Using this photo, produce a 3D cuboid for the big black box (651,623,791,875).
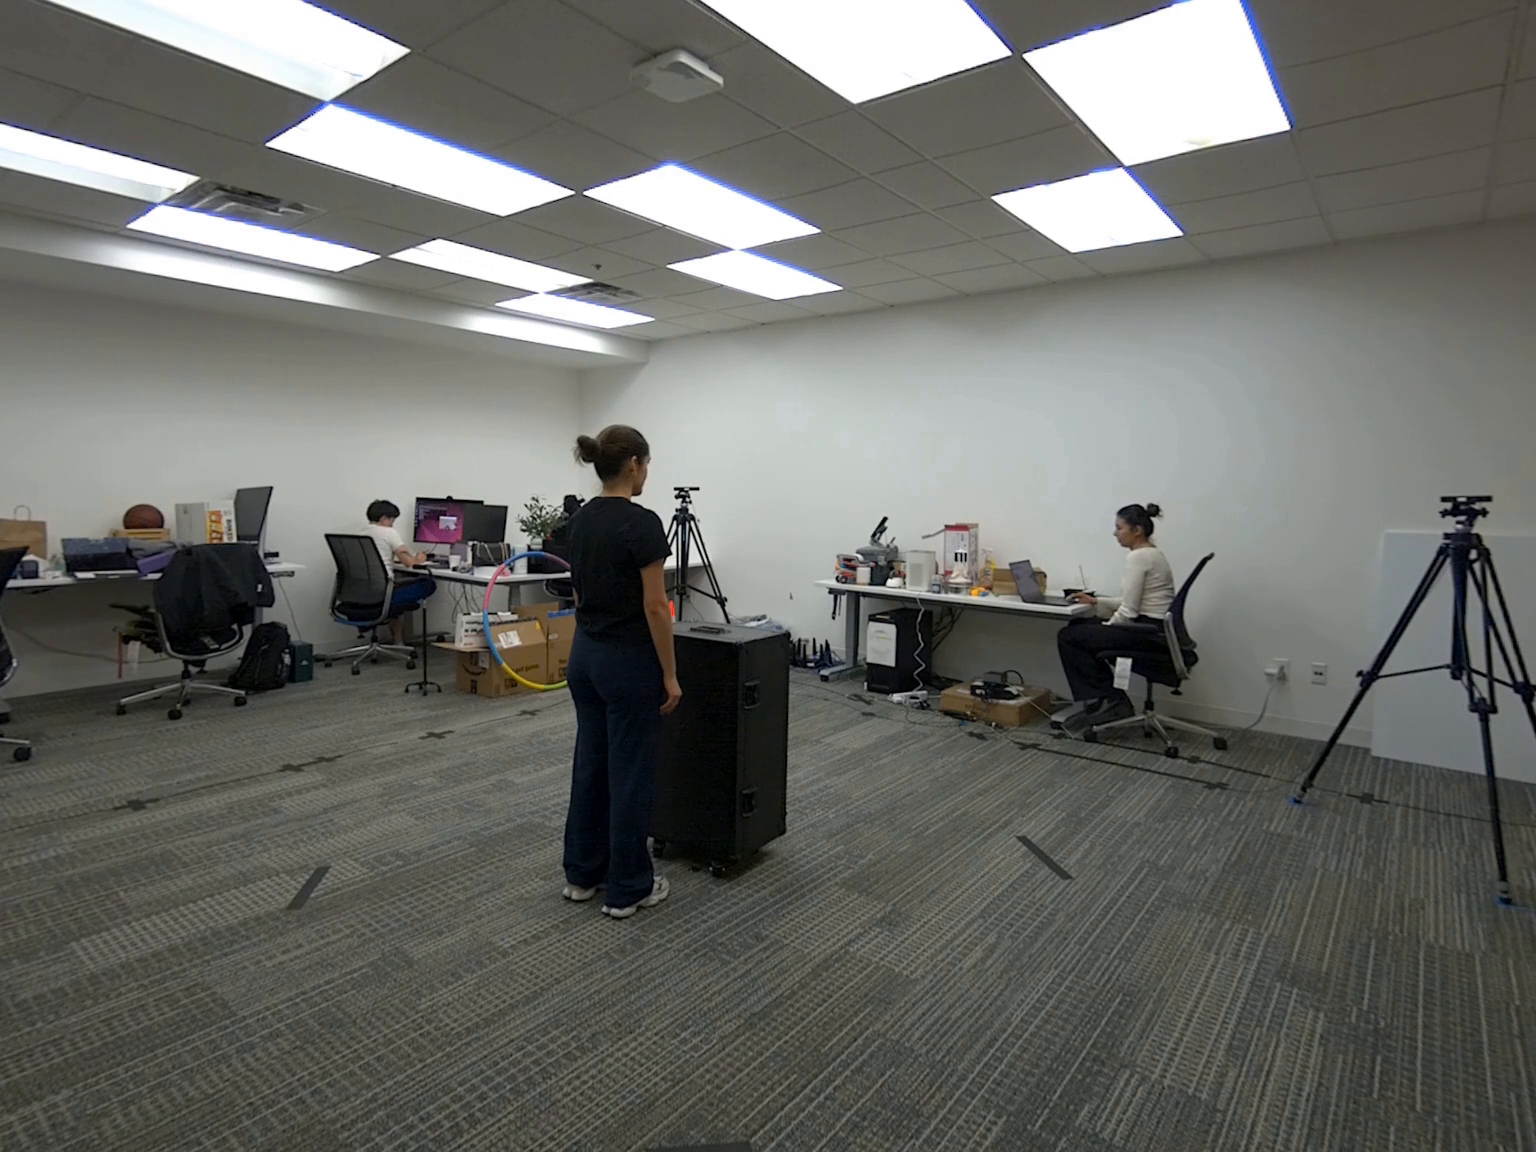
[{"bbox_3d":[-0.201,0.625,3.270,0.538,0.860,0.384,3,2,35],"label":"big black box"}]
